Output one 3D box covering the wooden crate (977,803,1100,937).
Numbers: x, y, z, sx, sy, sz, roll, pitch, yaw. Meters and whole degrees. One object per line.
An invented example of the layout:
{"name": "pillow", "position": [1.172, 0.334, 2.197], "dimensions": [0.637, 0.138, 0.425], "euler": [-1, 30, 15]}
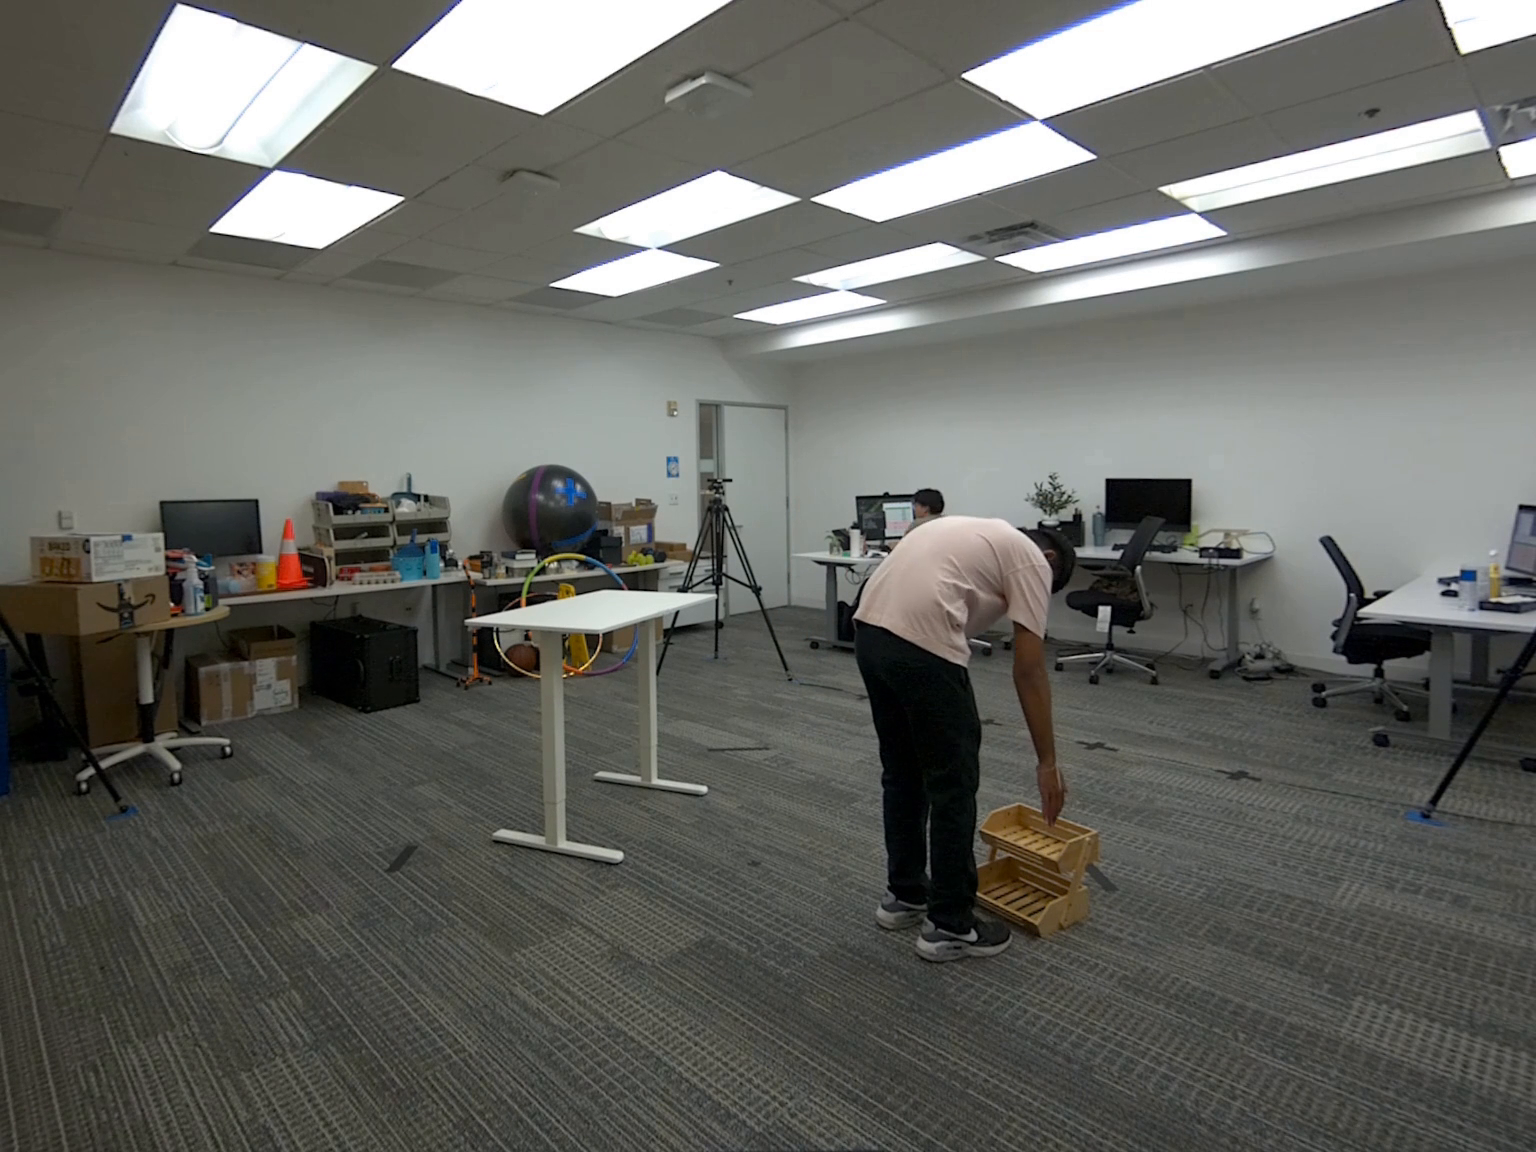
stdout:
{"name": "wooden crate", "position": [0.848, 0.936, 2.762], "dimensions": [0.294, 0.272, 0.334], "euler": [-4, 6, -35]}
